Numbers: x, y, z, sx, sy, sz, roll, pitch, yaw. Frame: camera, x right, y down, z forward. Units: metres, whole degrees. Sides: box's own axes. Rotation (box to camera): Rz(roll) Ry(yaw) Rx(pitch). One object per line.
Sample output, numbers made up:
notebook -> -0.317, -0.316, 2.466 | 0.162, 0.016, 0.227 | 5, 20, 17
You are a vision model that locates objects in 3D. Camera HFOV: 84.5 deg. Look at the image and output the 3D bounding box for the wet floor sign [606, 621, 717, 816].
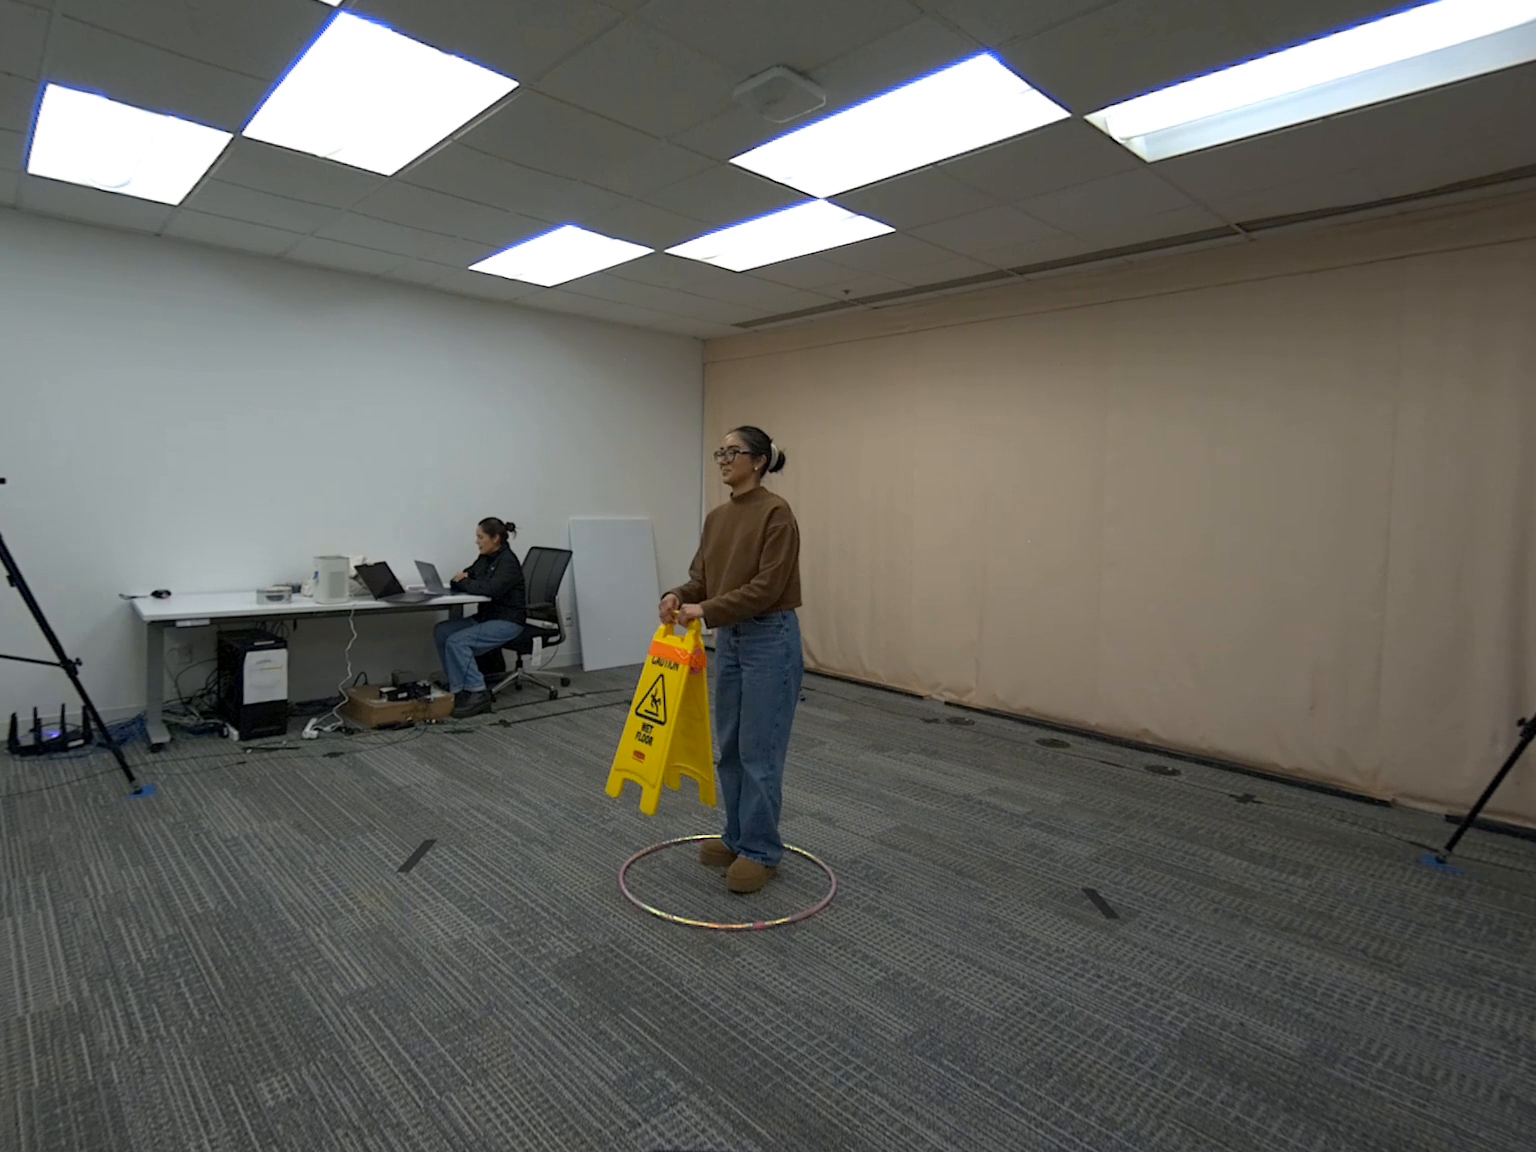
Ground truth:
wet floor sign -> -0.339, 0.450, 2.898 | 0.282, 0.647, 0.289 | 6, -2, -43
